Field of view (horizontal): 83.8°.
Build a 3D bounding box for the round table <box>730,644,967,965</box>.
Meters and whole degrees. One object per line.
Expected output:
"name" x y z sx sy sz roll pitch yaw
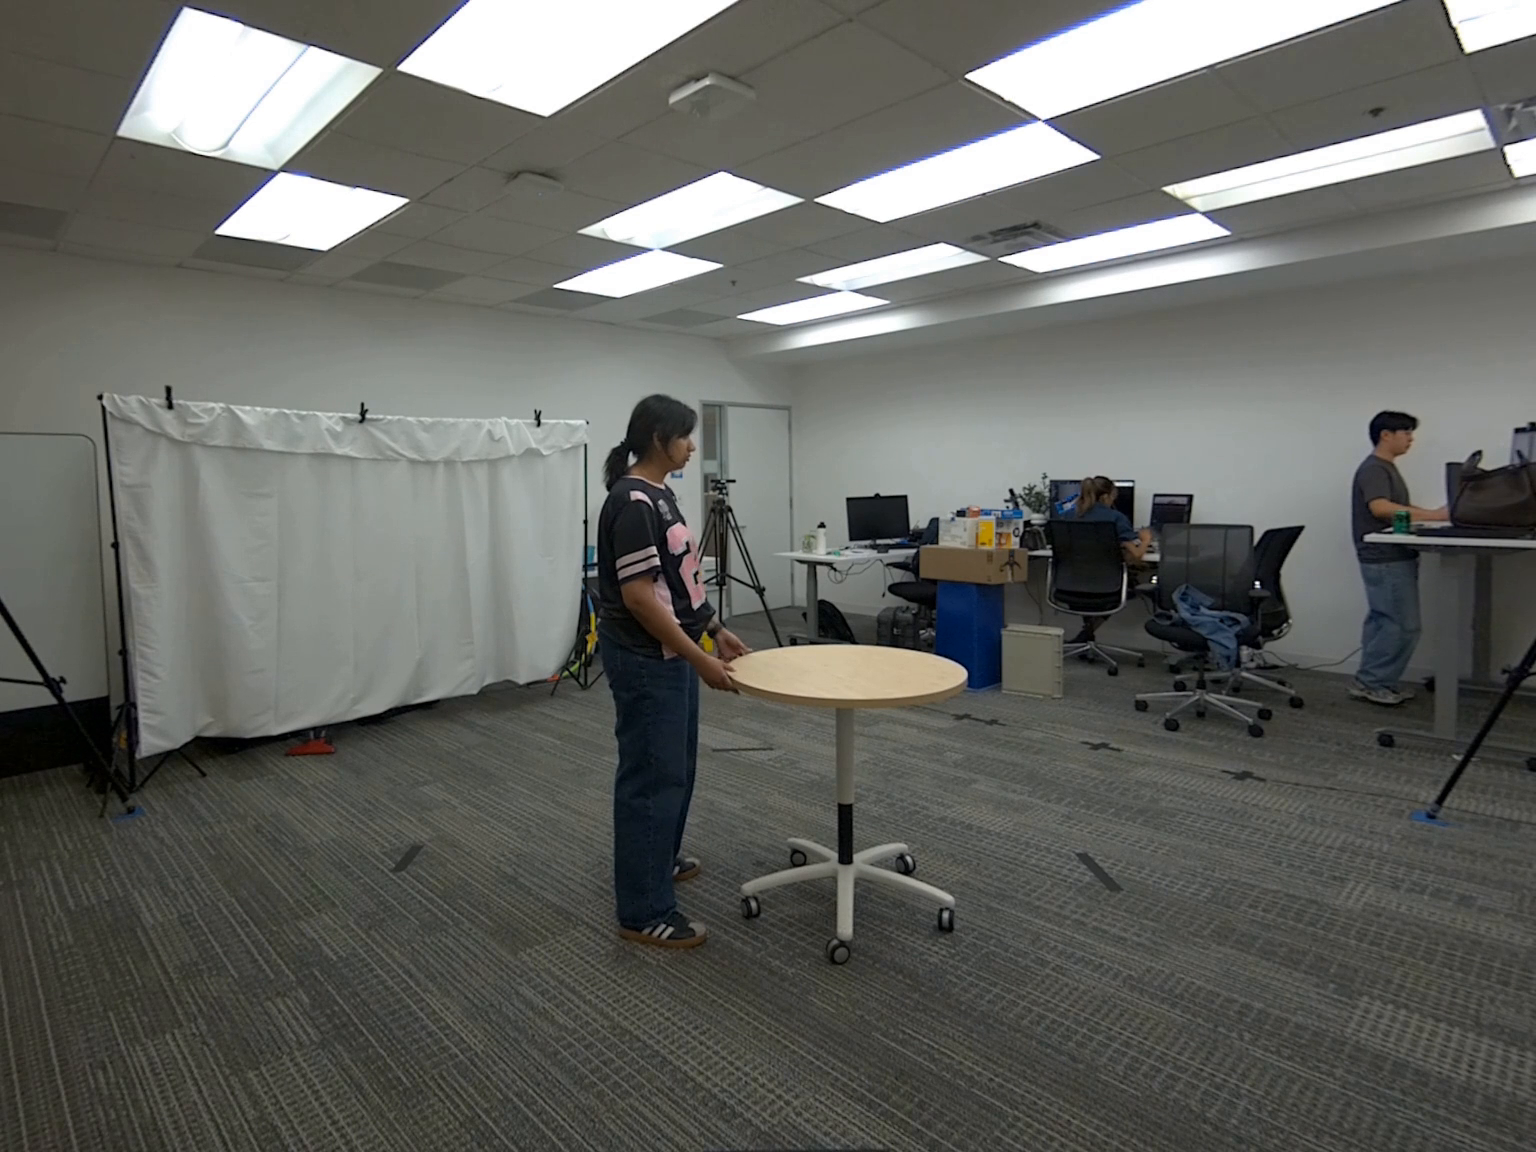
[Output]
"round table" 0.250 0.686 2.787 0.763 0.791 0.768 -1 5 -2
